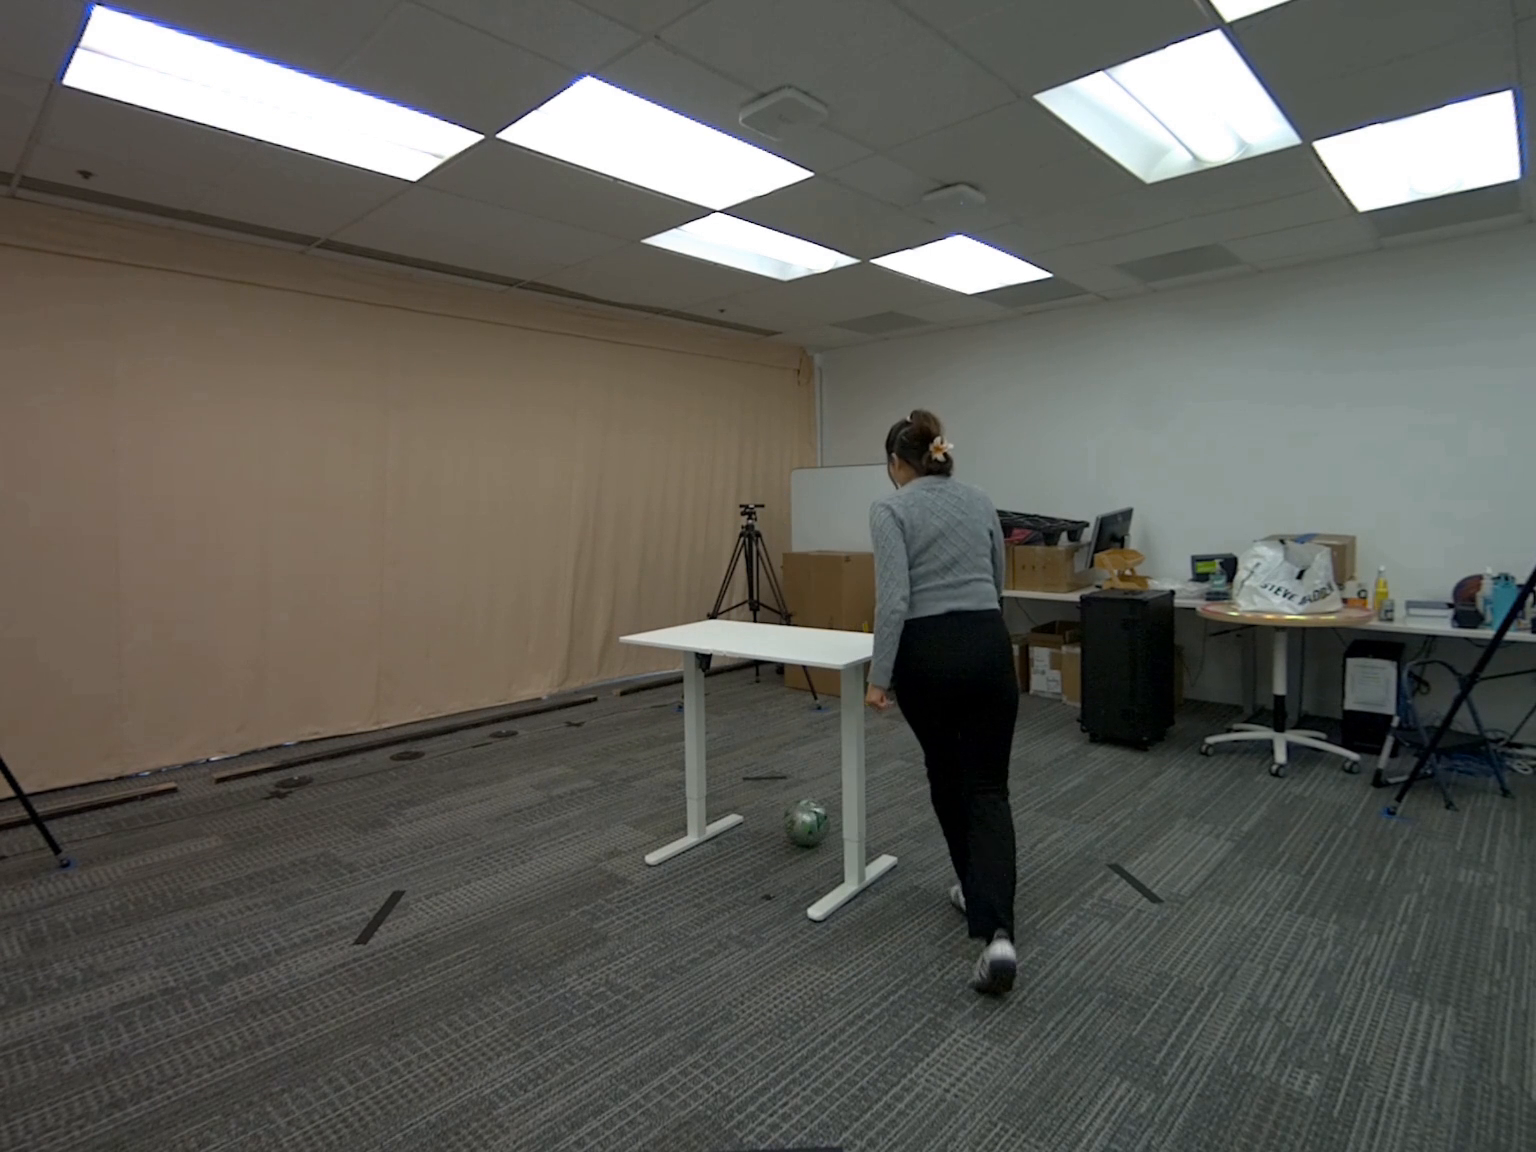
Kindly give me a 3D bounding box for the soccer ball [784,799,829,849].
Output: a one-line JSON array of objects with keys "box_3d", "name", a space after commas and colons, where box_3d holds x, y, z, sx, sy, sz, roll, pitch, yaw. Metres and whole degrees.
[{"box_3d": [0.156, 1.004, 3.431, 0.187, 0.187, 0.188, -1, 4, -2], "name": "soccer ball"}]
